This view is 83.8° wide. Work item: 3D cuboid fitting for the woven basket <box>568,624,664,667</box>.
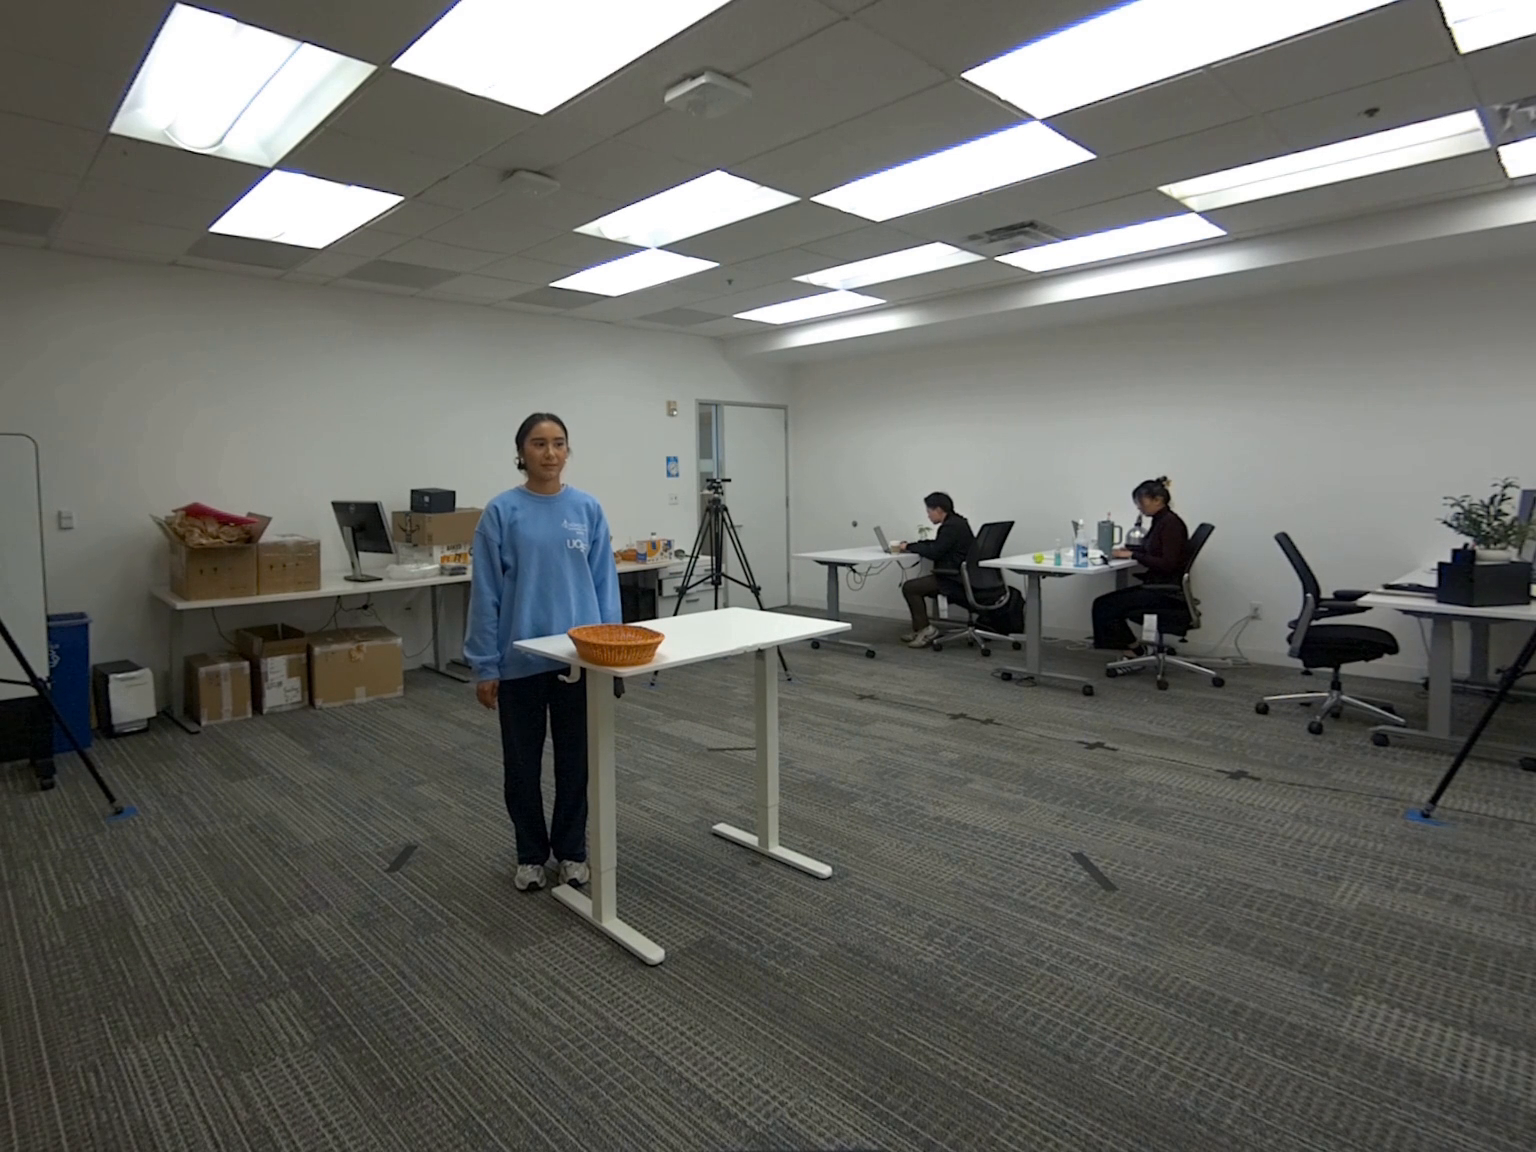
[{"bbox_3d":[-0.448,0.208,2.520,0.246,0.073,0.361,-5,8,-33],"label":"woven basket"}]
